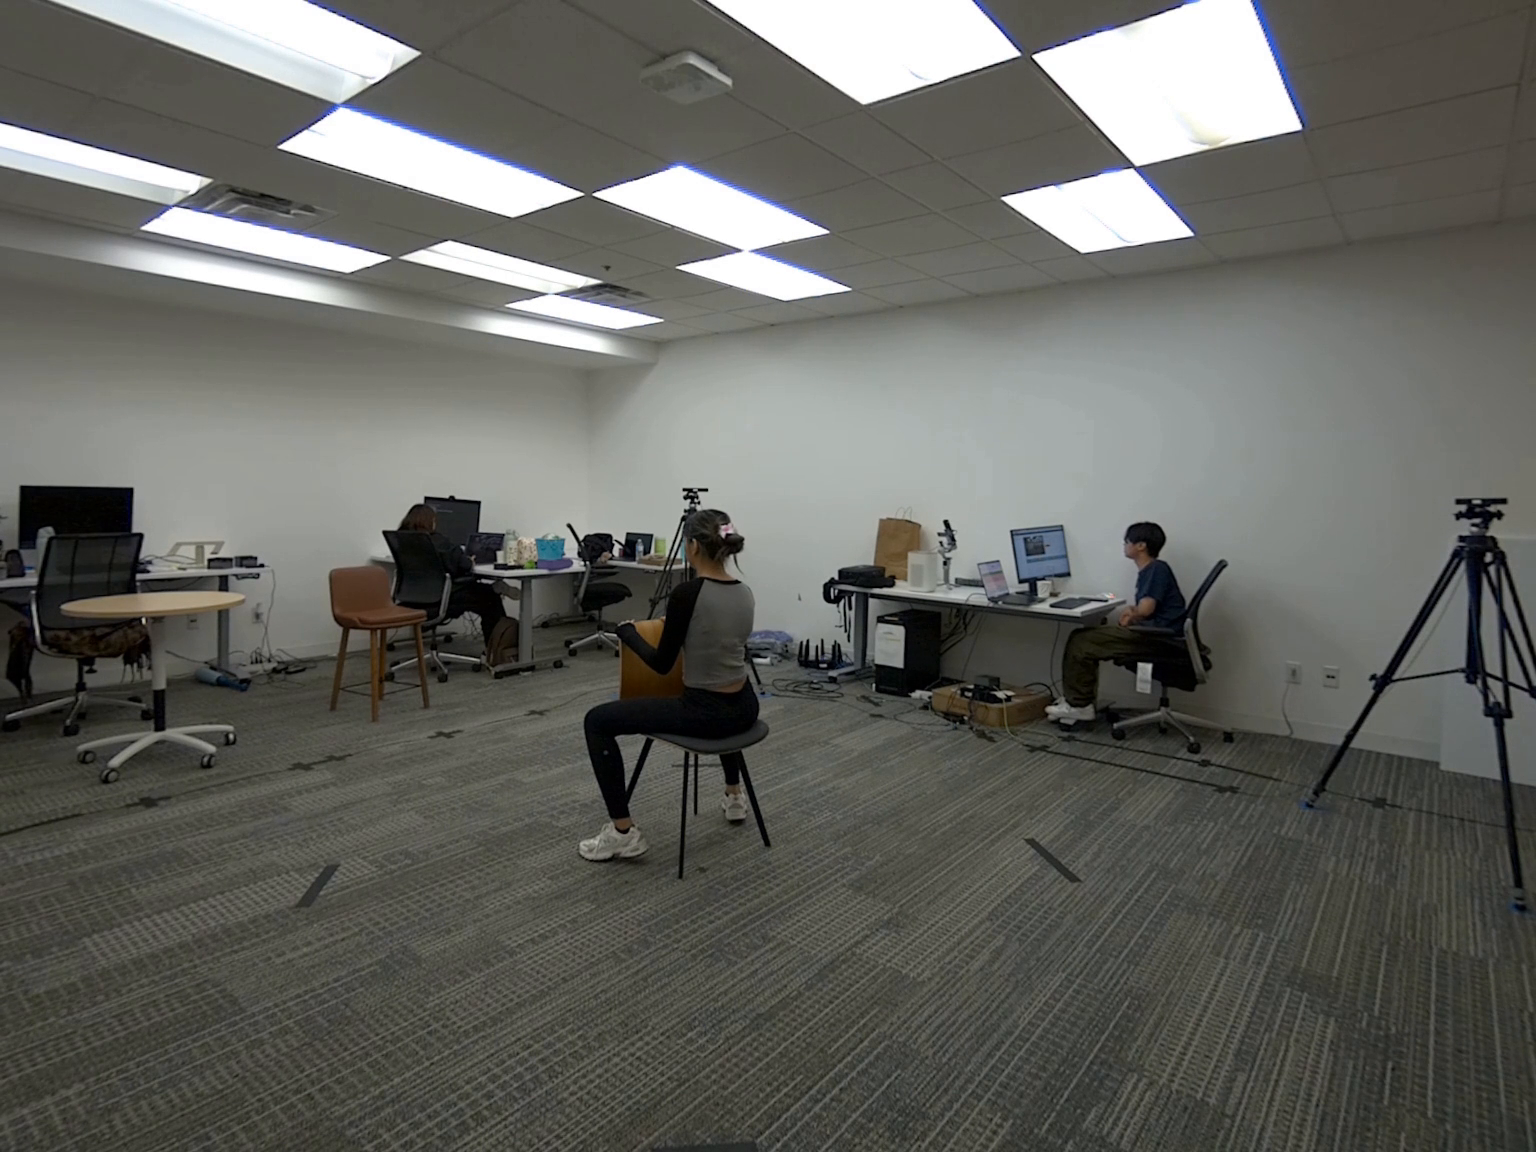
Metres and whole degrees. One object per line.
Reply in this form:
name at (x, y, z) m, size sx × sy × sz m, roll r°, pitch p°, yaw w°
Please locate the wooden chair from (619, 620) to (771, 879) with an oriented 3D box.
wooden chair at (-0.302, 0.623, 3.307) m, size 0.463 × 0.878 × 0.539 m, roll -2°, pitch -1°, yaw -43°
